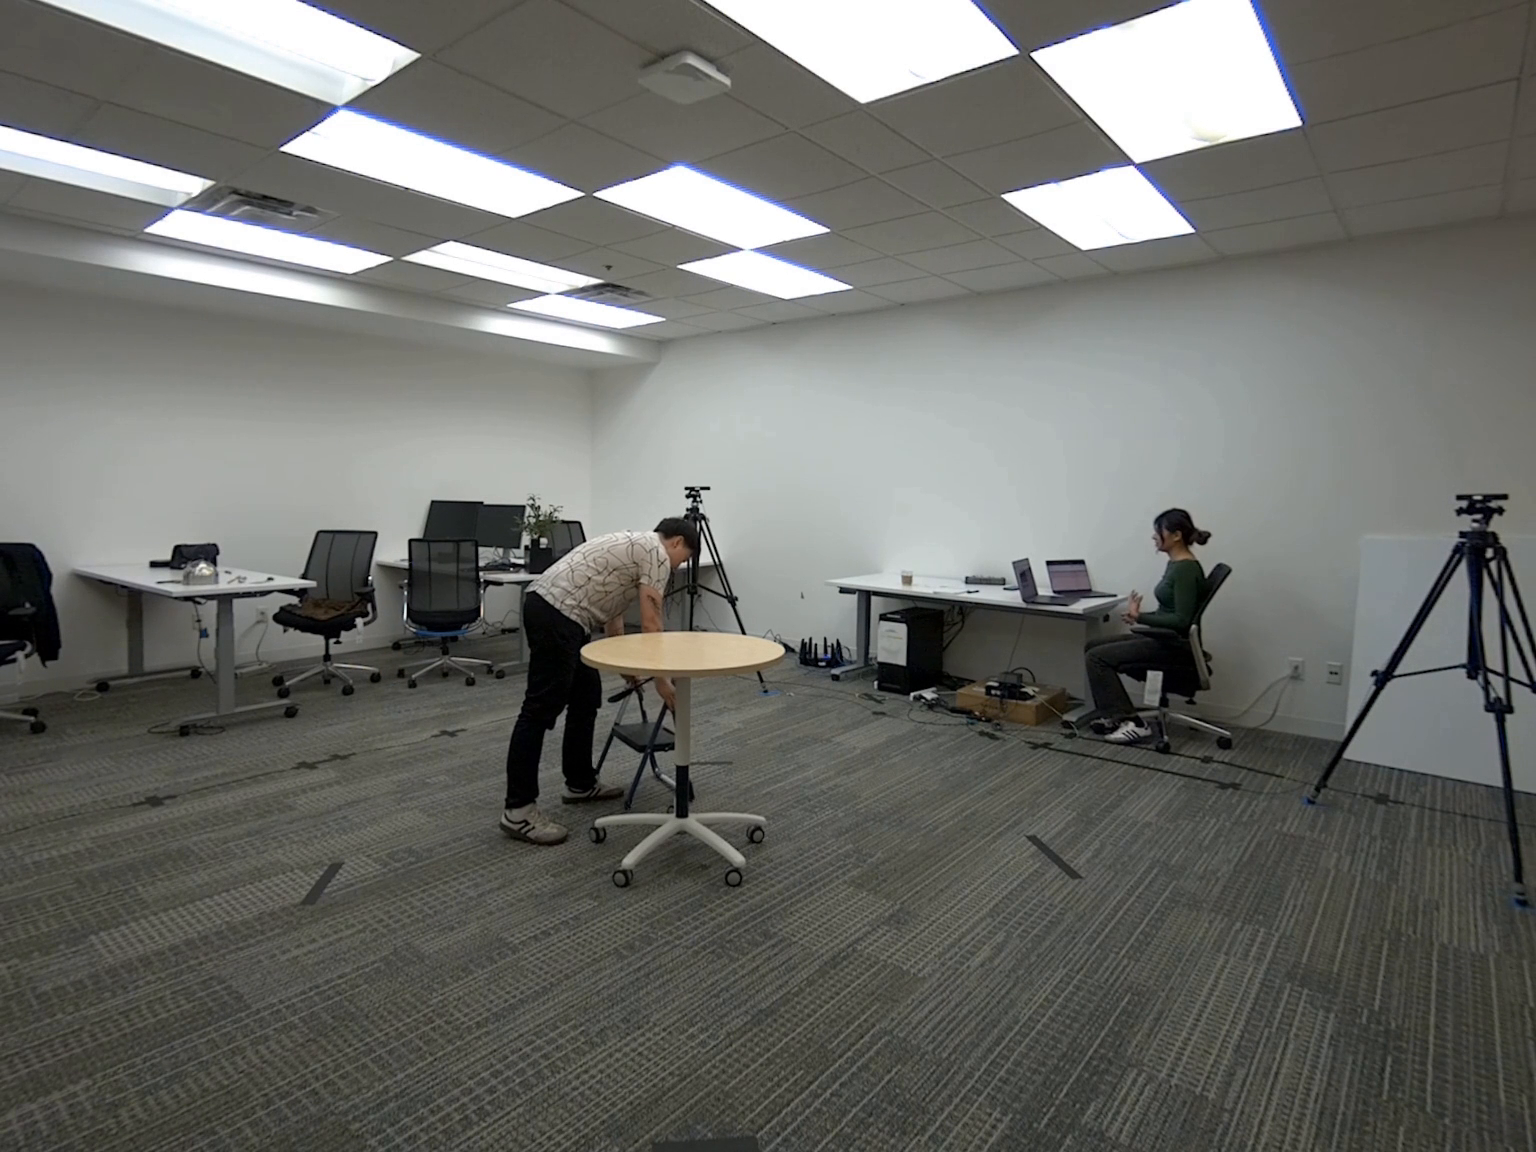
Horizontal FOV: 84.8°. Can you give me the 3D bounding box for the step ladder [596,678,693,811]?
[{"bbox_3d":[-0.570,0.669,3.861,0.339,0.606,0.443,3,1,-31],"label":"step ladder"}]
